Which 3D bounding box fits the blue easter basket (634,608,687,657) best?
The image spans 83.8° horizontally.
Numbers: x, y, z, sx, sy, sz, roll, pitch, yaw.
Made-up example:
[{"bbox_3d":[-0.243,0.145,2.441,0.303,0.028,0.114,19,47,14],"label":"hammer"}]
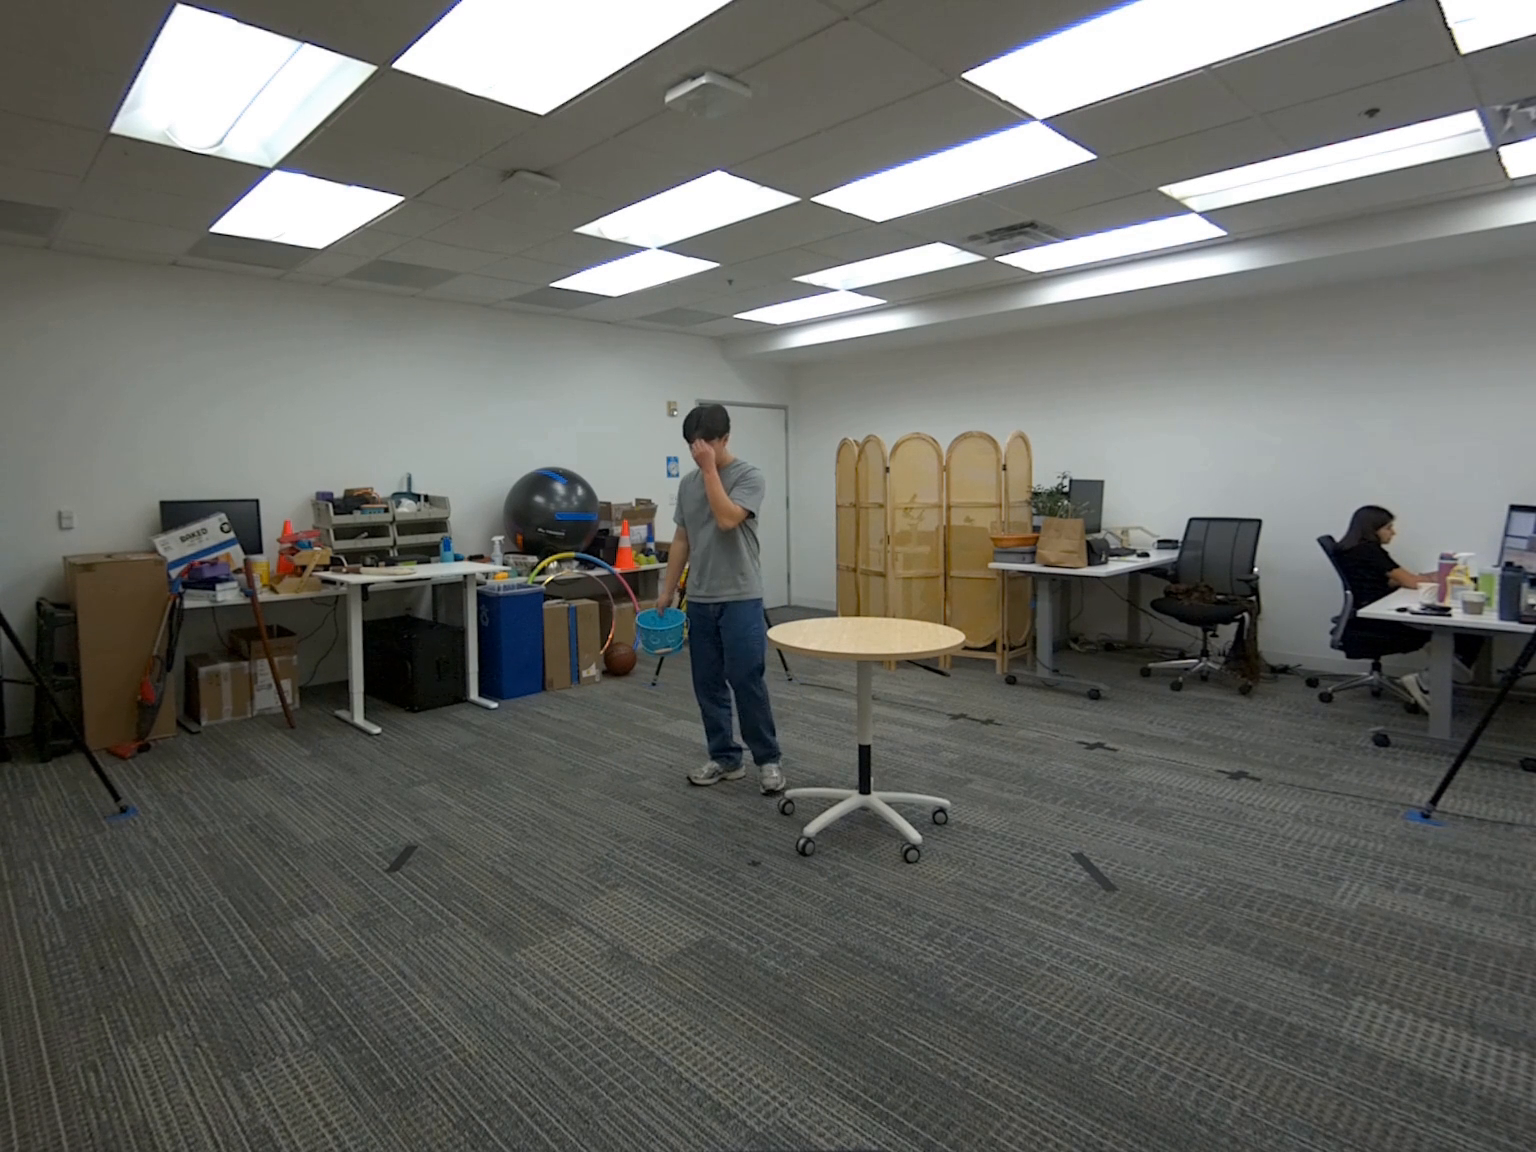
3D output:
[{"bbox_3d":[-0.486,0.265,3.910,0.243,0.153,0.248,-3,19,-1],"label":"blue easter basket"}]
